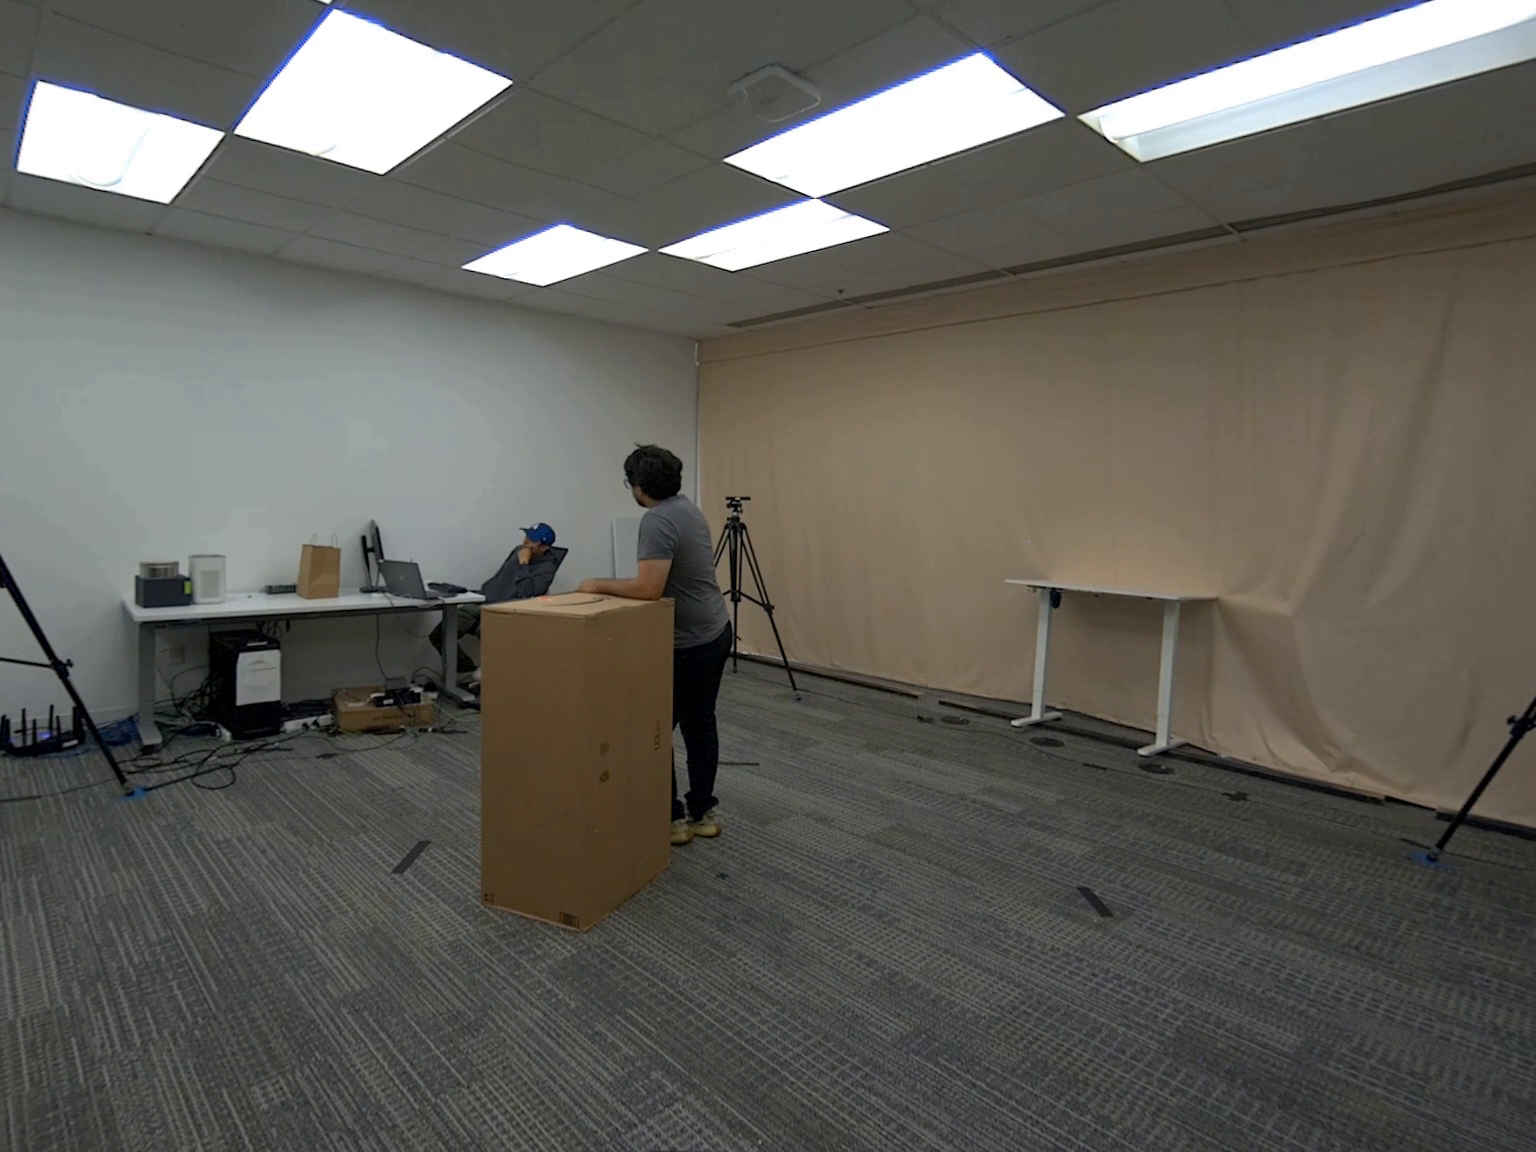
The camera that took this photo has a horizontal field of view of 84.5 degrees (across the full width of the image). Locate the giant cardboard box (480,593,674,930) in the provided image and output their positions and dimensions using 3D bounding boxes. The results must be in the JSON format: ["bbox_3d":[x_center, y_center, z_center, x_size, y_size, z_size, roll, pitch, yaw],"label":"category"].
[{"bbox_3d":[-0.677,0.599,2.986,0.434,1.023,0.568,3,4,25],"label":"giant cardboard box"}]
